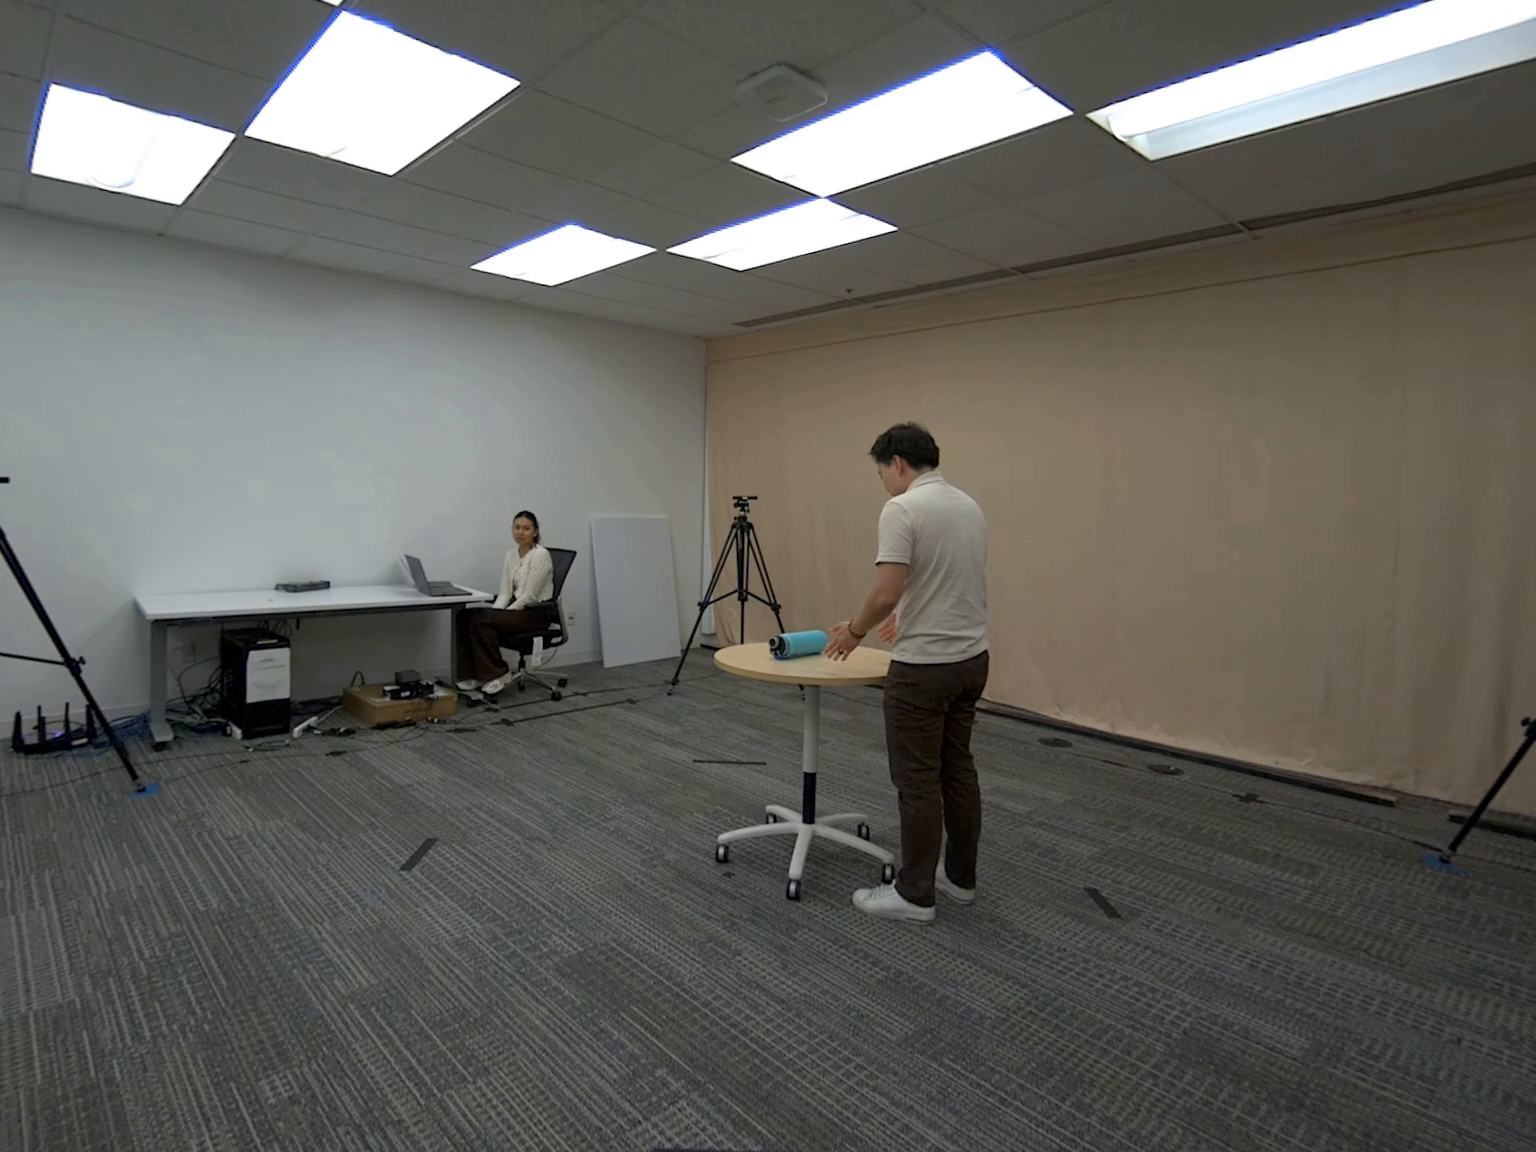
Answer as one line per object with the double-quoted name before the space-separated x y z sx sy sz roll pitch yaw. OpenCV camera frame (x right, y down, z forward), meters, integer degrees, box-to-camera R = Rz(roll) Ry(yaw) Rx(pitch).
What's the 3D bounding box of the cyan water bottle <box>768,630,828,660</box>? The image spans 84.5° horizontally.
"cyan water bottle" 0.108 0.265 3.252 0.095 0.092 0.277 5 5 42
